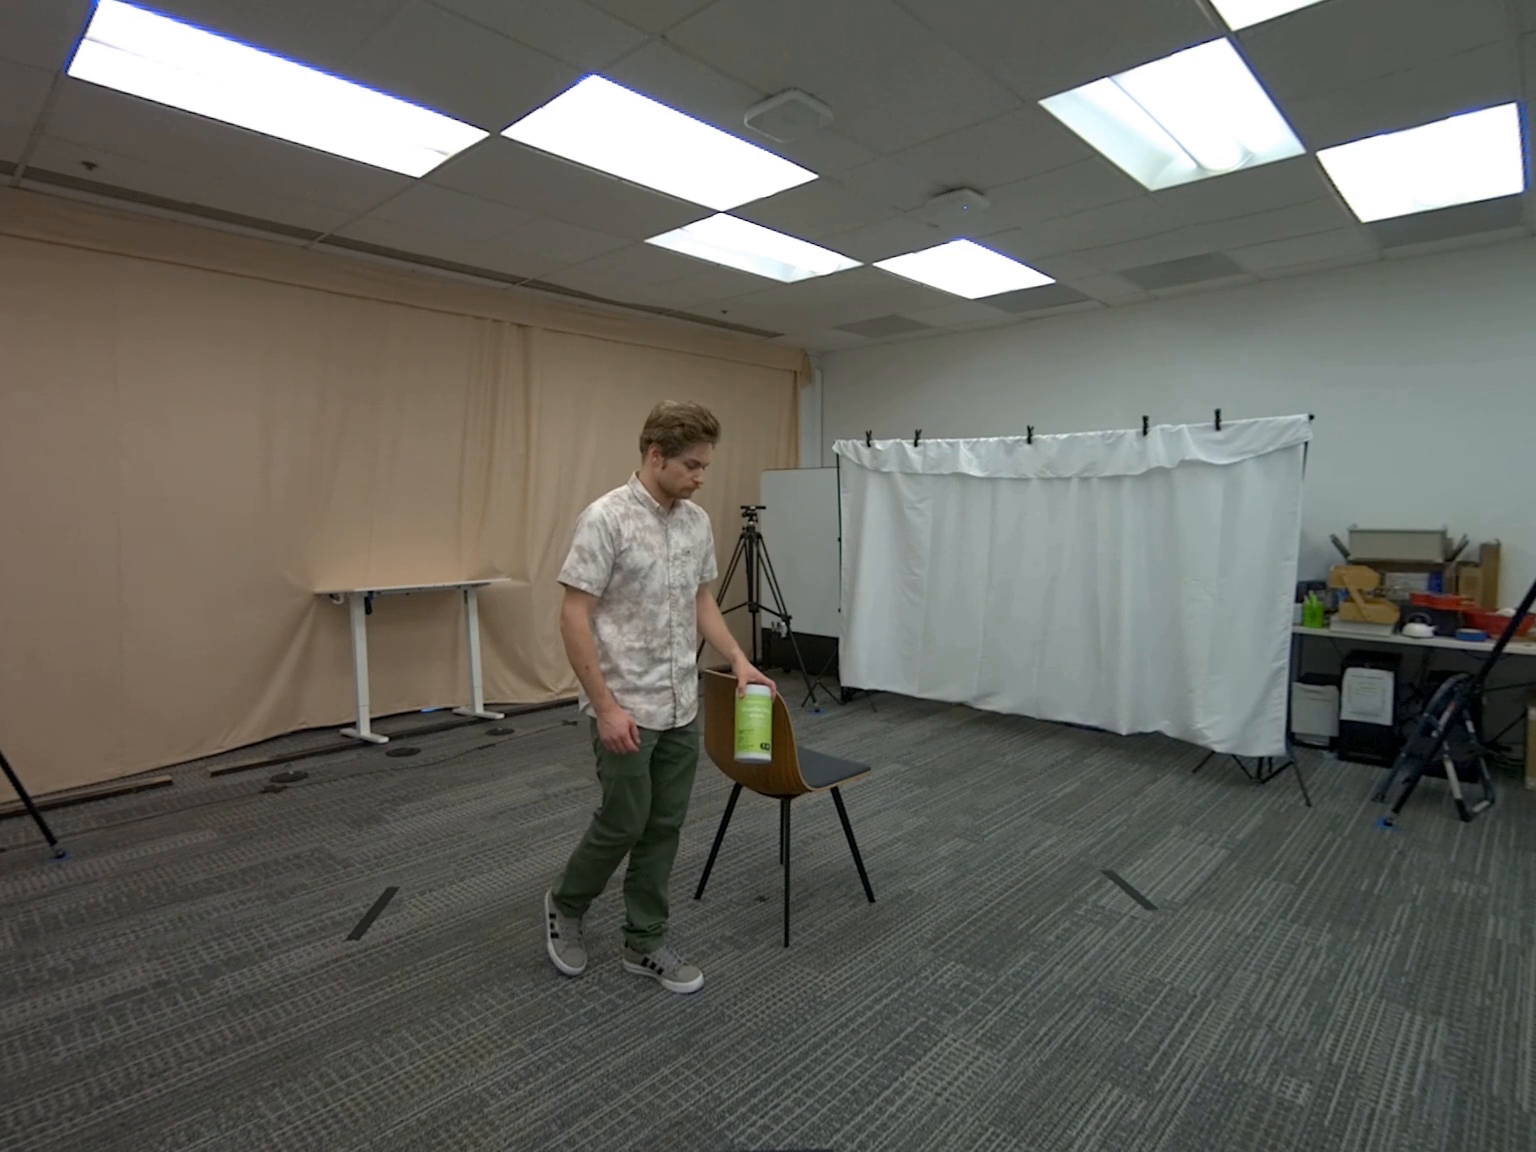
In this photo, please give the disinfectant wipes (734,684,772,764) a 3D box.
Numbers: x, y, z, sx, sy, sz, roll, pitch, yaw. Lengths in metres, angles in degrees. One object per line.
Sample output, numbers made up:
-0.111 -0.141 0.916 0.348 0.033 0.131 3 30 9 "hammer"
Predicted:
-0.047 0.442 2.496 0.118 0.220 0.116 2 -20 -1 "disinfectant wipes"
